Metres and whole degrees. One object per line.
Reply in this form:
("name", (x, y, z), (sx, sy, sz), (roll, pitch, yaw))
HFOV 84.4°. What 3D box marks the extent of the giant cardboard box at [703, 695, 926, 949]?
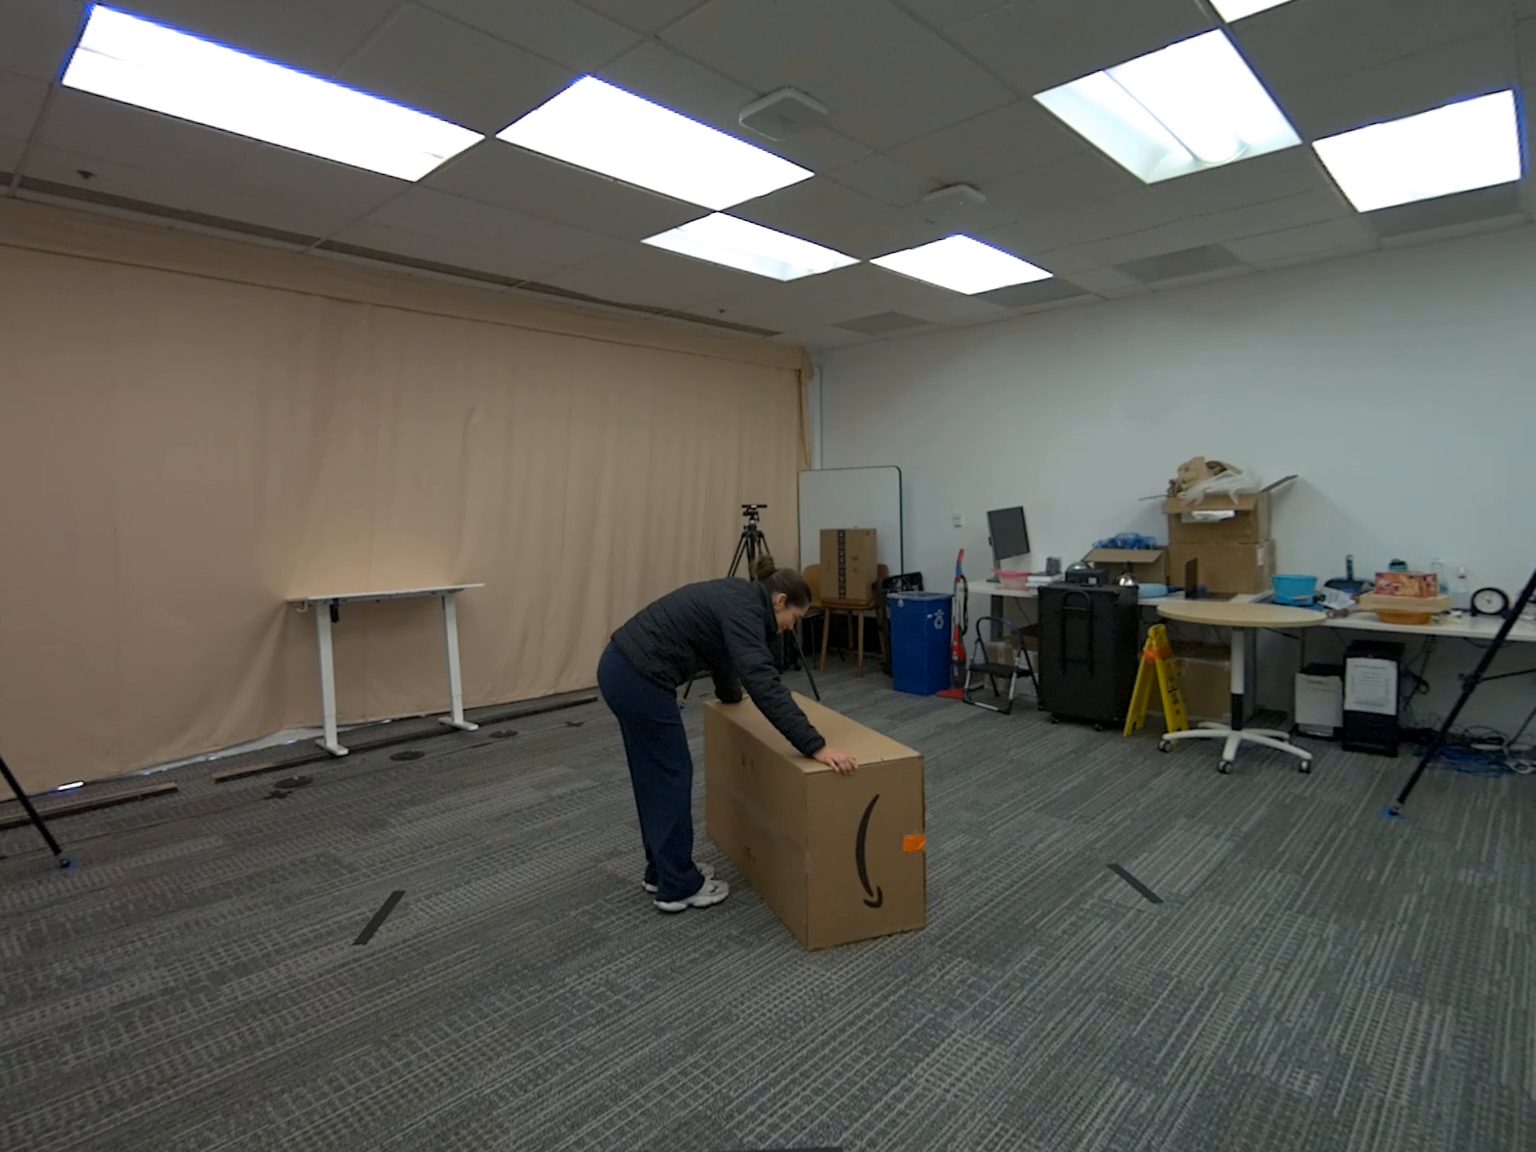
("giant cardboard box", (0.138, 0.836, 3.149), (0.438, 0.582, 1.050), (-4, 5, -20))
